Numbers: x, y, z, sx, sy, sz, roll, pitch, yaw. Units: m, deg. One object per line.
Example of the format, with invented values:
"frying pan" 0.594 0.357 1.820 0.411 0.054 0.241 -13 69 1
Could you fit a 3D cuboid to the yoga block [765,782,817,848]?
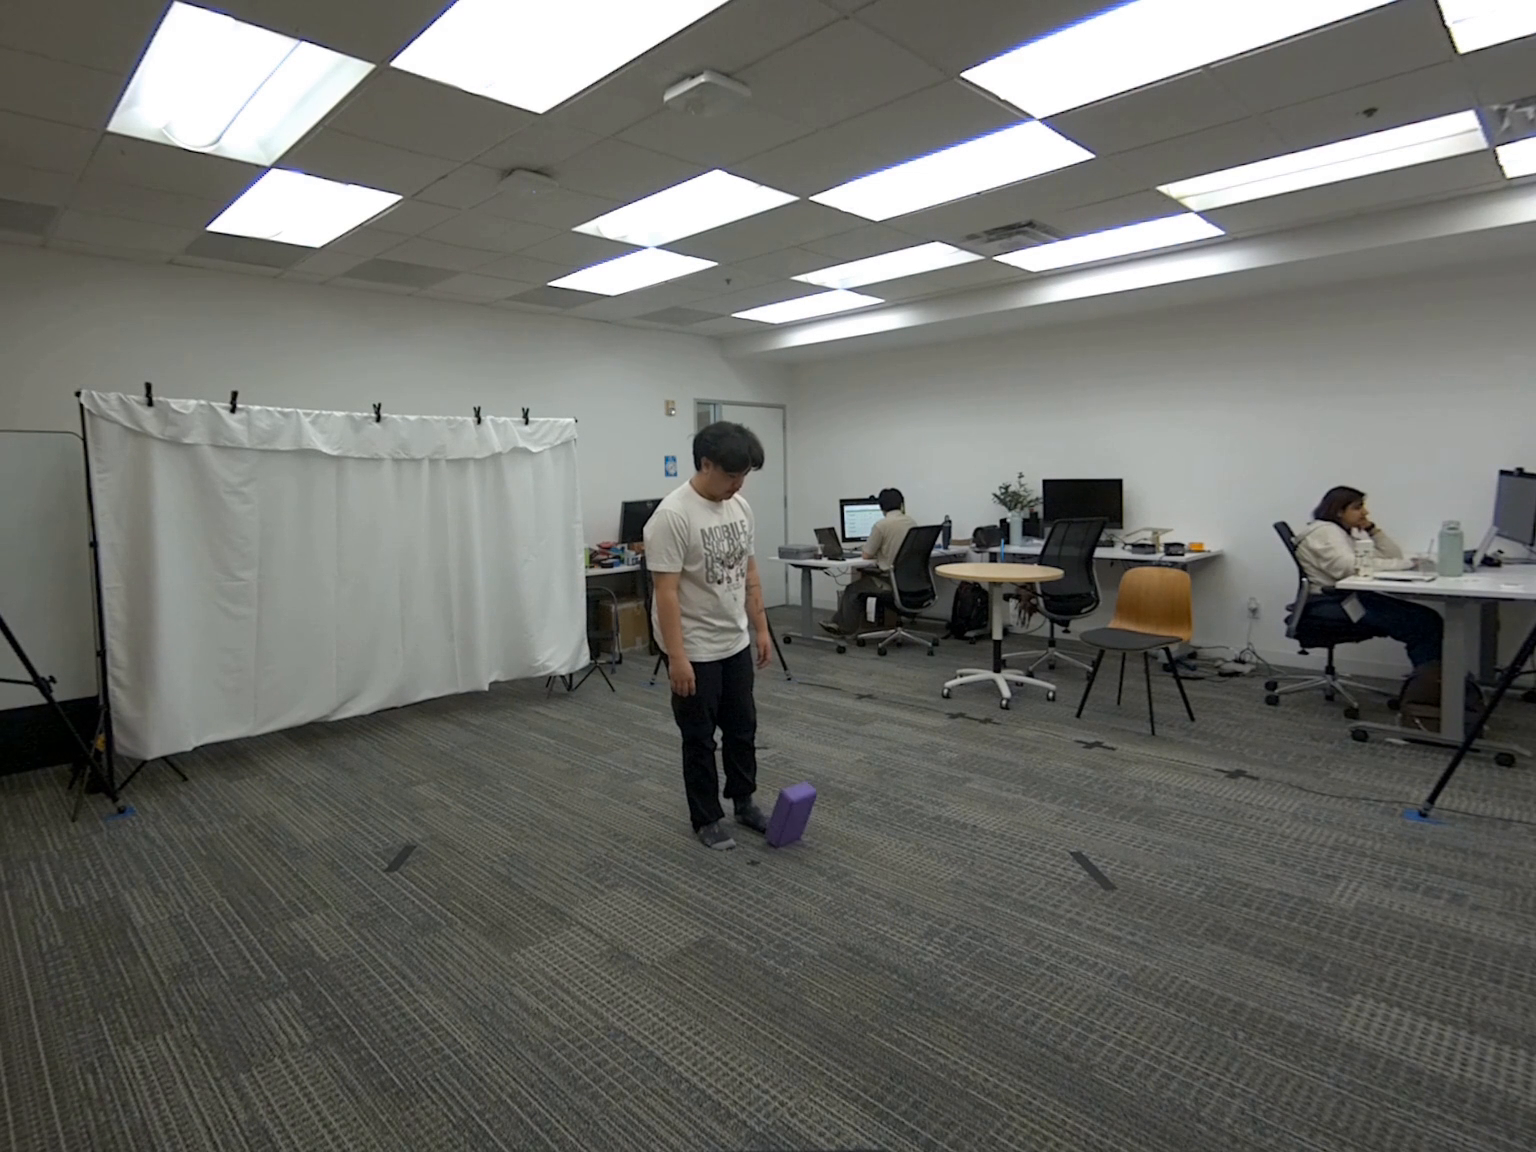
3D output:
"yoga block" 0.093 0.910 3.253 0.145 0.227 0.079 -1 25 -40
